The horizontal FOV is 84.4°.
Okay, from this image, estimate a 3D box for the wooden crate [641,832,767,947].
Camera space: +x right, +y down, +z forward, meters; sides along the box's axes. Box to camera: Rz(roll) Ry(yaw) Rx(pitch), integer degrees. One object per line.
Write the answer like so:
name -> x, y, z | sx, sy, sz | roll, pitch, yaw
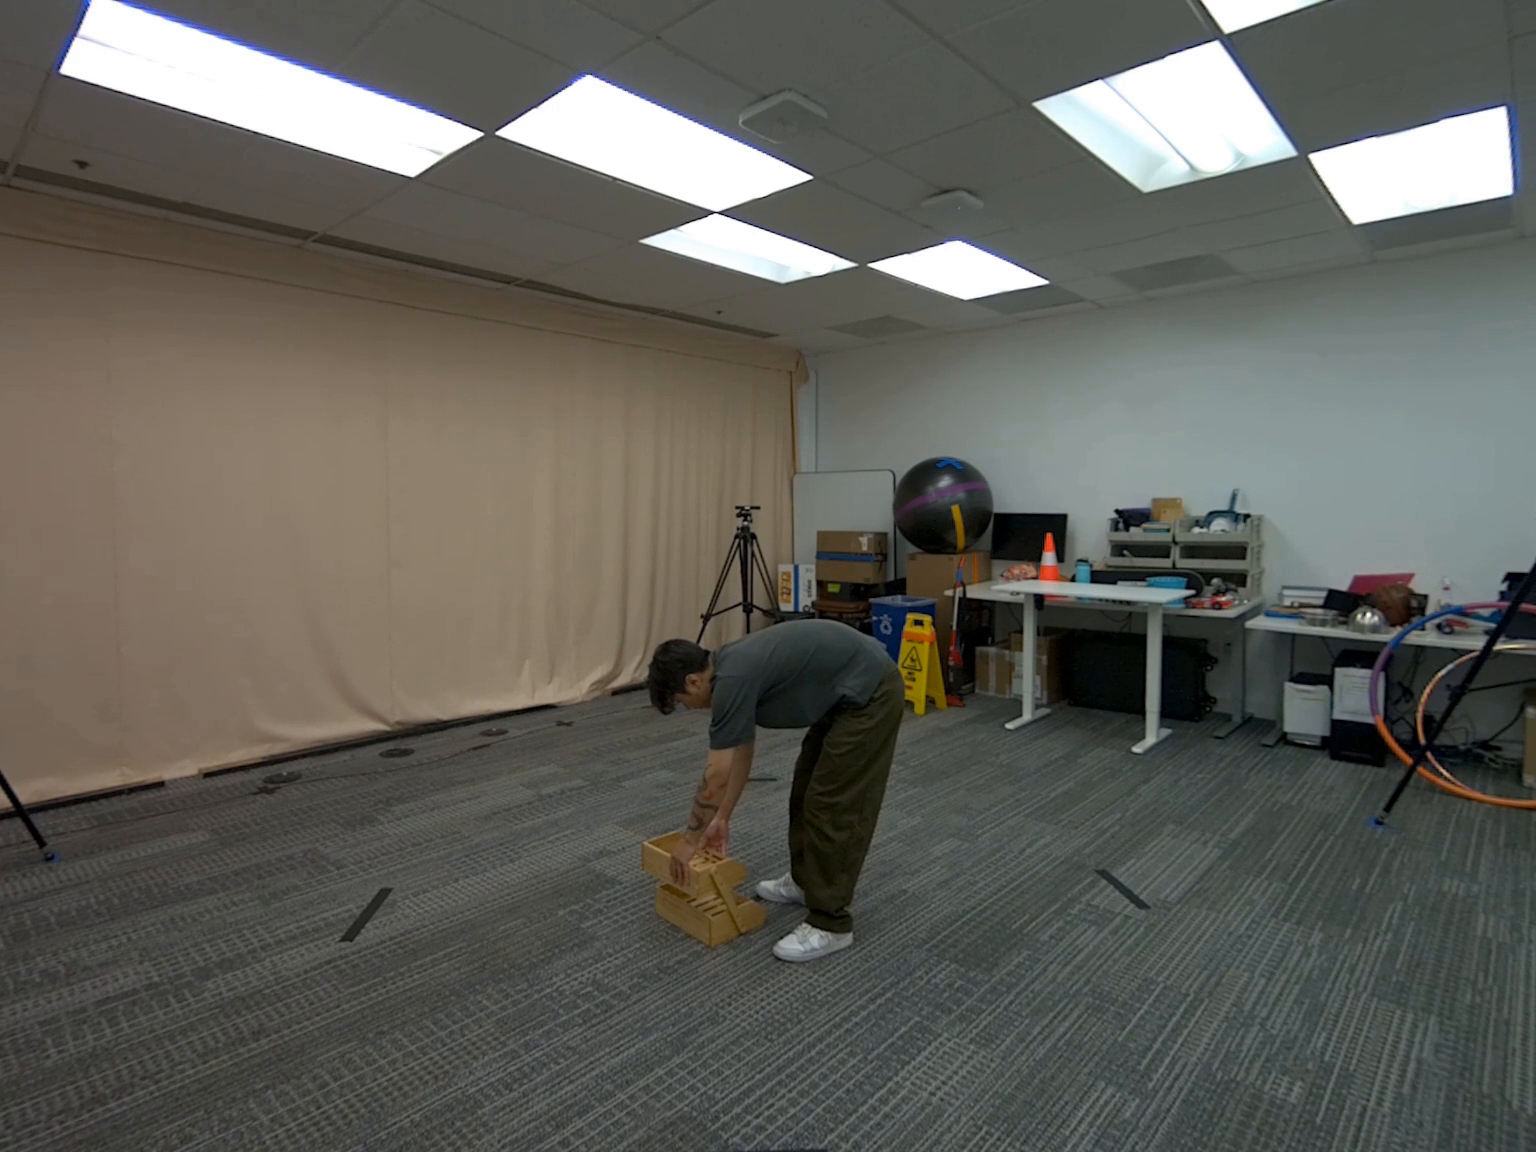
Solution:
wooden crate -> -0.207, 1.023, 2.828 | 0.293, 0.272, 0.335 | -5, 6, -43
